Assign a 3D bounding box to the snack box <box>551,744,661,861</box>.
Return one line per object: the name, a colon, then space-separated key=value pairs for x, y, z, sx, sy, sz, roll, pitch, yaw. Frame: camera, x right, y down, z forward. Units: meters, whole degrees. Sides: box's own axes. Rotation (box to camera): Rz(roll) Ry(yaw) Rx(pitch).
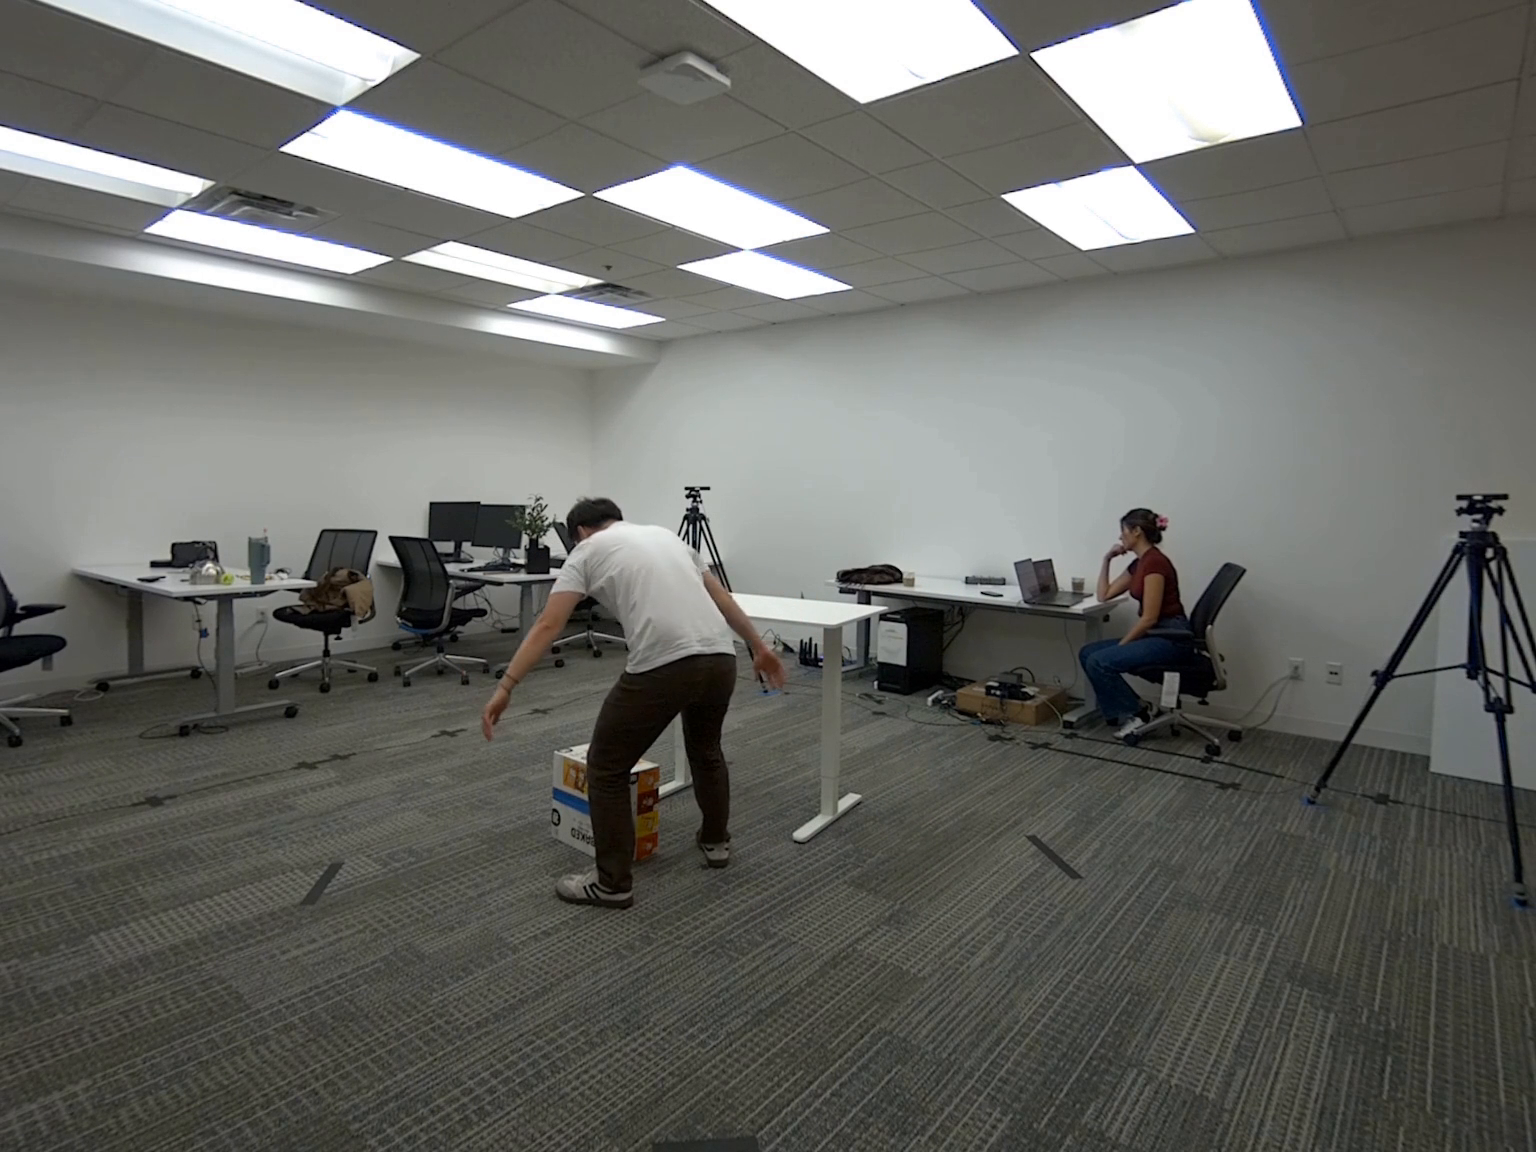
snack box: x=-0.650 y=0.874 z=3.298 sx=0.419 sy=0.340 sz=0.199 roll=5 pitch=4 yaw=41
